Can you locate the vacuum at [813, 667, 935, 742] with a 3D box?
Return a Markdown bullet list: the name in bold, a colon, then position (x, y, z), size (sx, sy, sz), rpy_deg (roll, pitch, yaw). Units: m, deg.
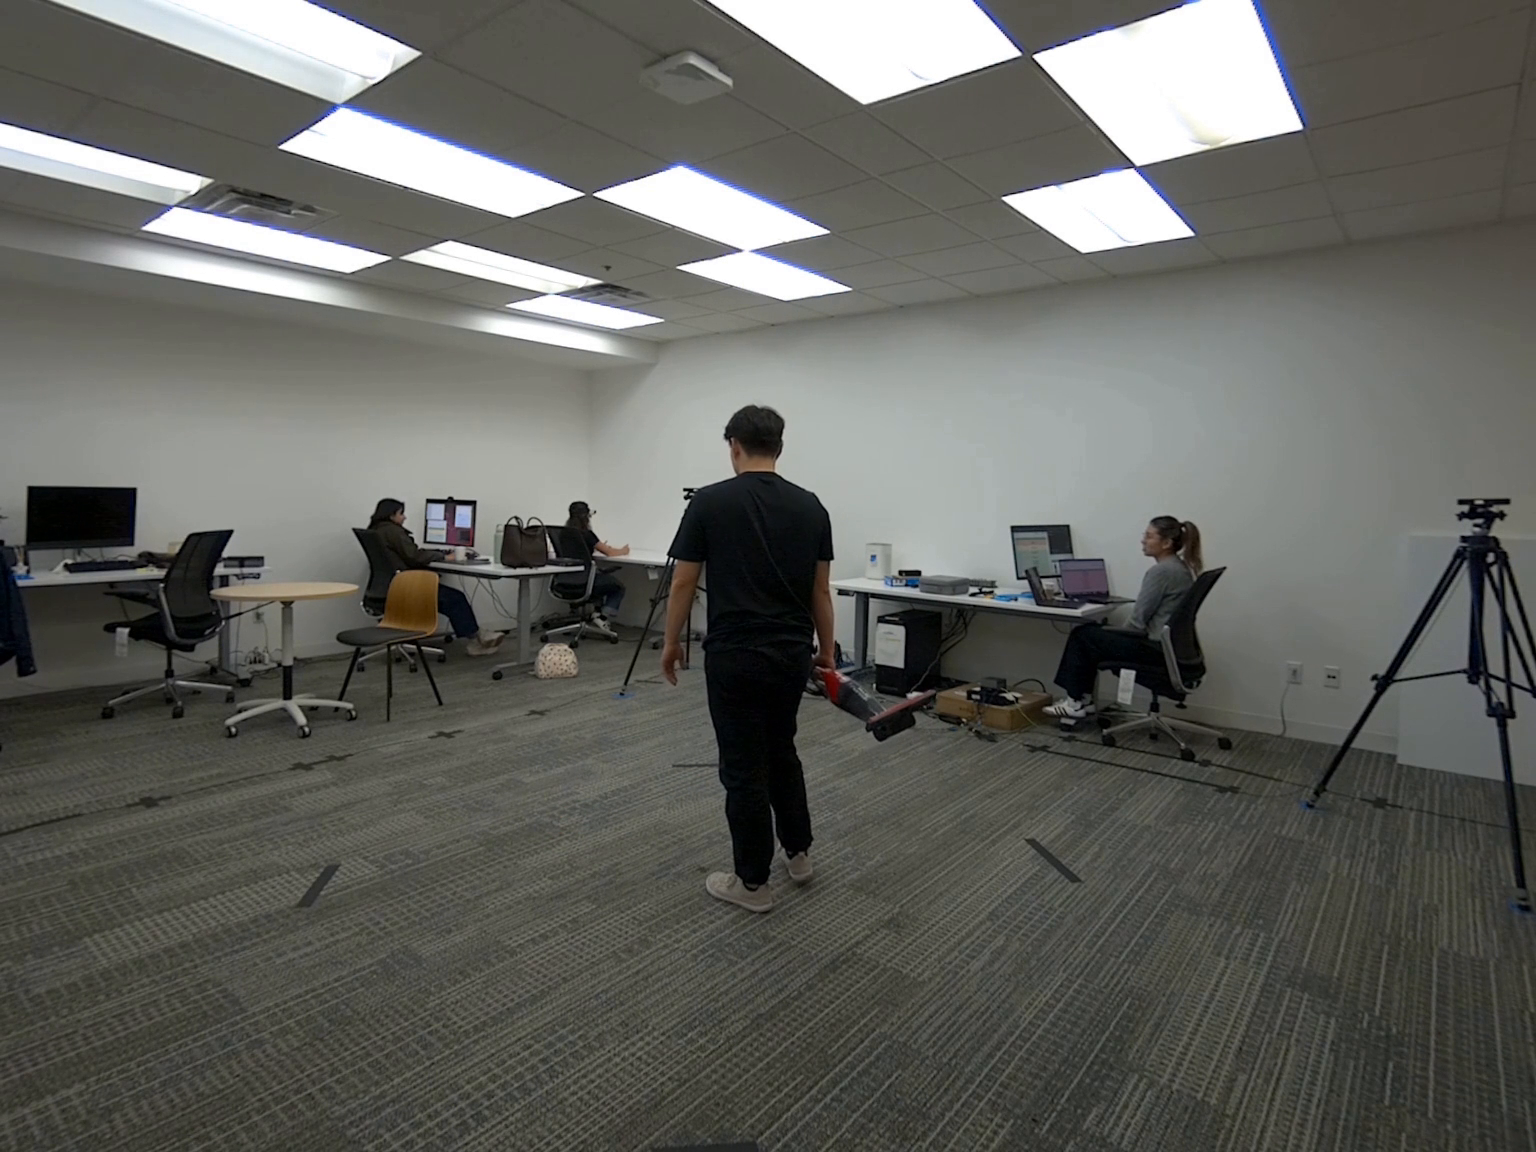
- **vacuum**: position (0.148, 0.369, 3.084), size (0.249, 0.142, 1.082), rpy_deg (-20, 17, -23)
